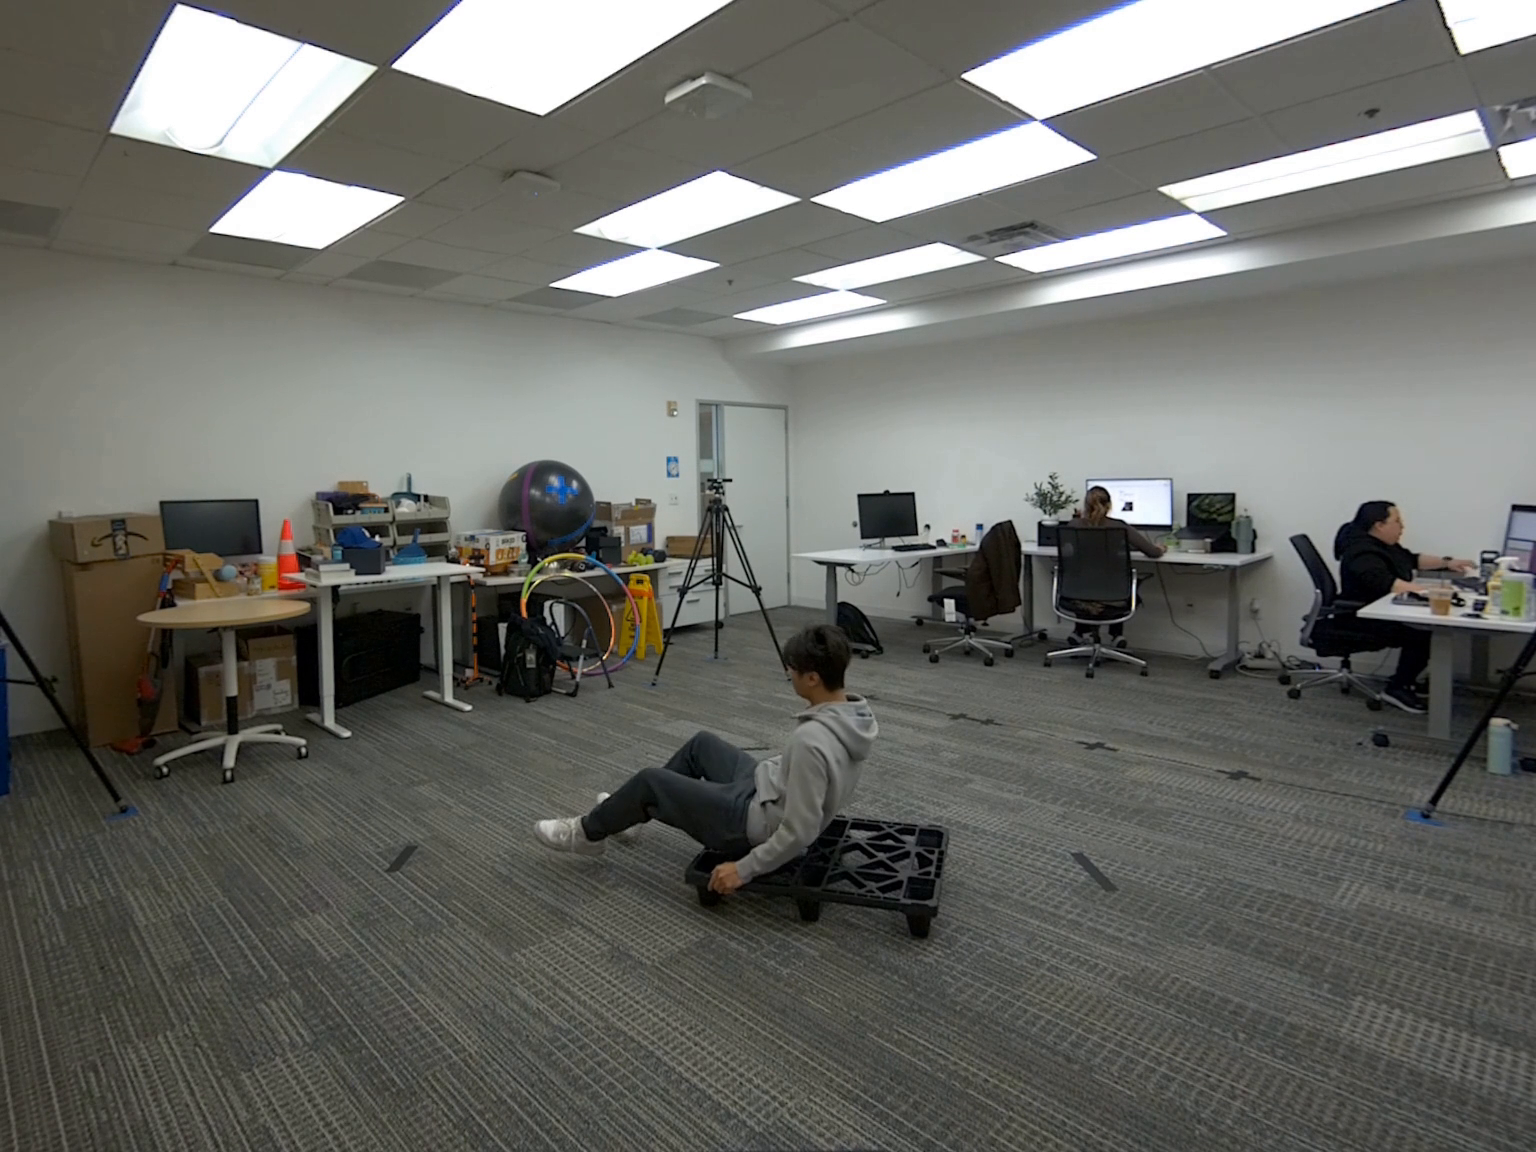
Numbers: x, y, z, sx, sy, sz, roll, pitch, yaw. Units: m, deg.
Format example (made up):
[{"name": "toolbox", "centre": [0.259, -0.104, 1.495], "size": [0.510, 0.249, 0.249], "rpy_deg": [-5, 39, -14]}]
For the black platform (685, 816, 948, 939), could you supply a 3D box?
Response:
[{"name": "black platform", "centre": [0.186, 0.993, 2.916], "size": [0.819, 0.143, 0.597], "rpy_deg": [0, 6, 17]}]
